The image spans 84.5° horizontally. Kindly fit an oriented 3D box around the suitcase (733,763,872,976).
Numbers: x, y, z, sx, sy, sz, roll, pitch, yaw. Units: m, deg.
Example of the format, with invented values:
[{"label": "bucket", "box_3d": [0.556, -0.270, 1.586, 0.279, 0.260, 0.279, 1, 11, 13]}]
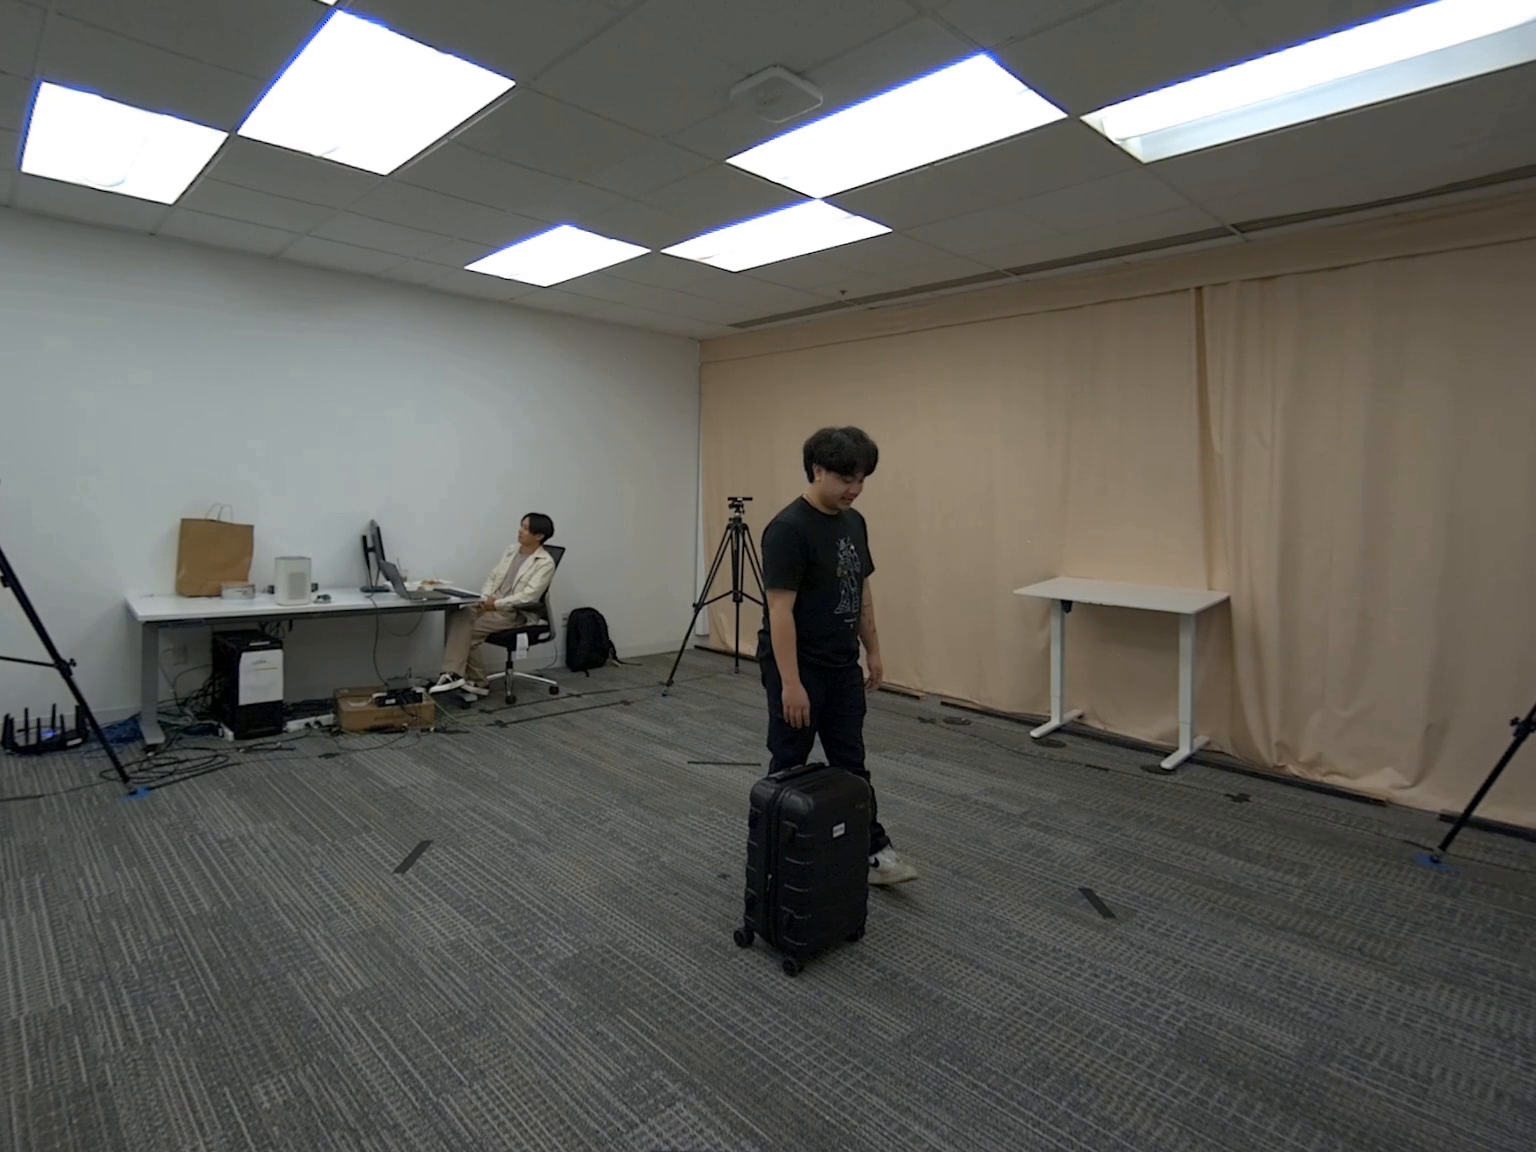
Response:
[{"label": "suitcase", "box_3d": [0.119, 0.882, 2.623, 0.255, 0.547, 0.367, 9, 7, 44]}]
